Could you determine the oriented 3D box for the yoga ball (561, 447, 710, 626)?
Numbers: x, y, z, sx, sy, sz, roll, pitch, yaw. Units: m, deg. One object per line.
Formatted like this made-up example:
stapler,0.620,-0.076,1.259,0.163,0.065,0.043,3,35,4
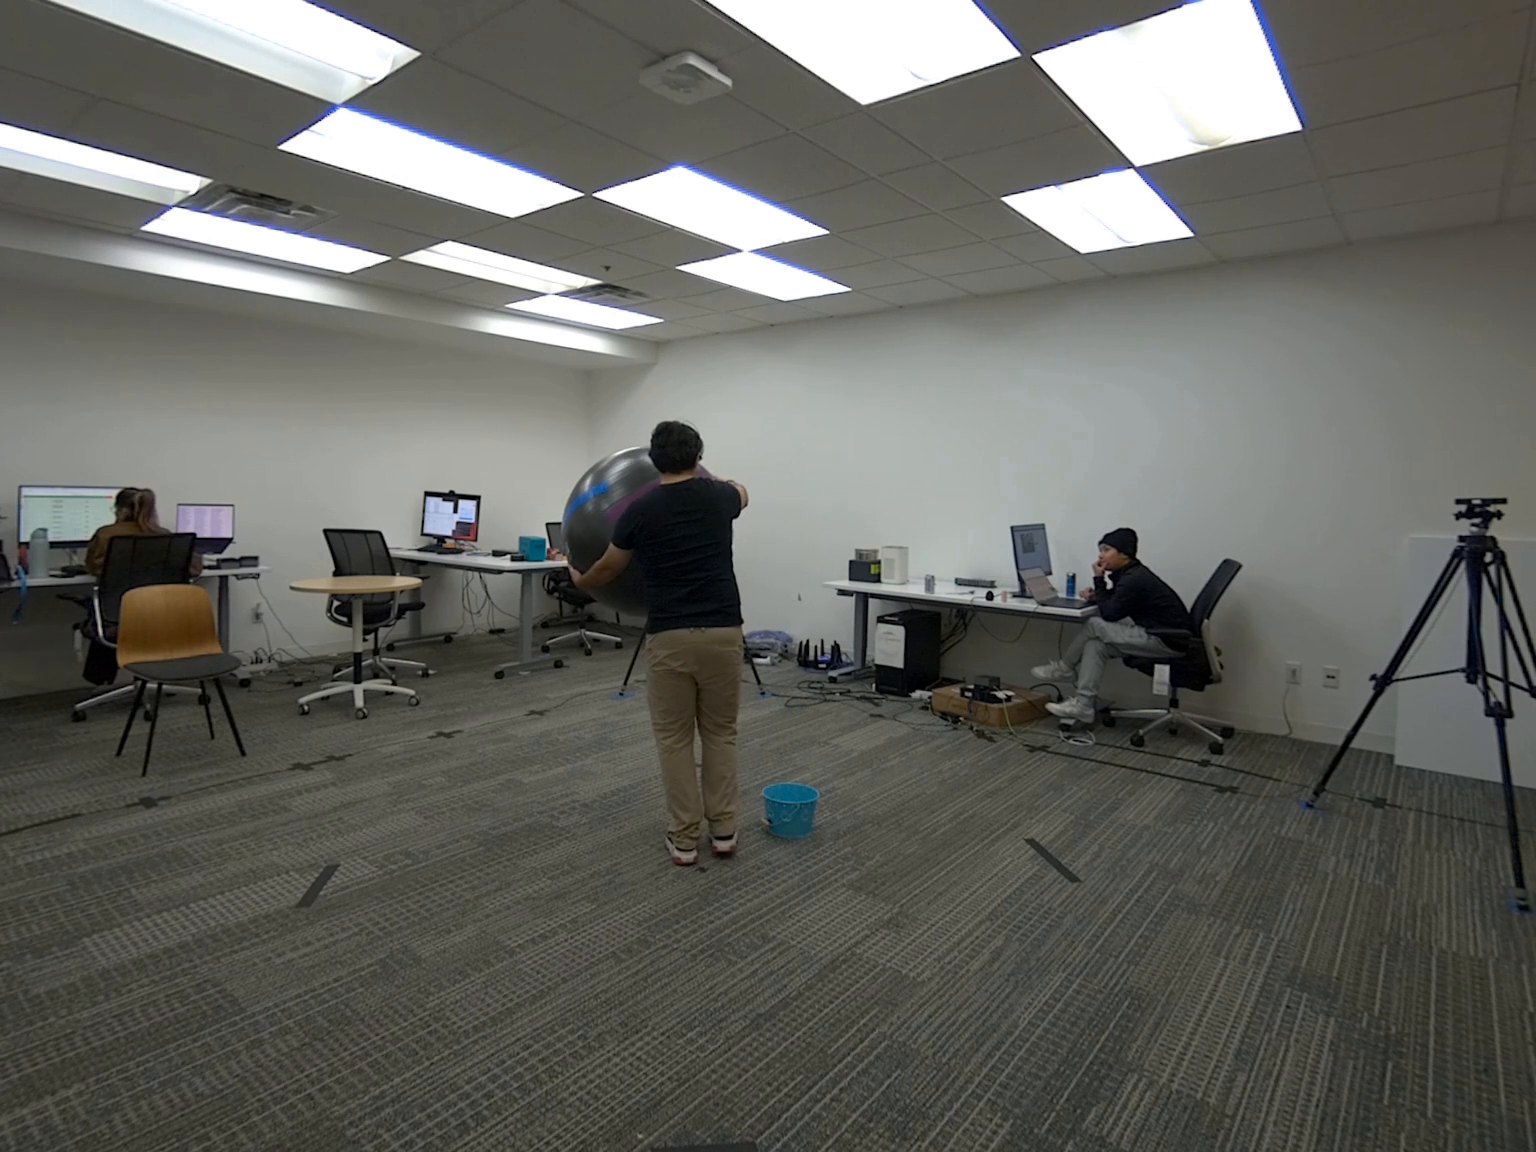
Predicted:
yoga ball,-0.559,-0.196,3.788,0.757,0.755,0.762,1,4,-2
